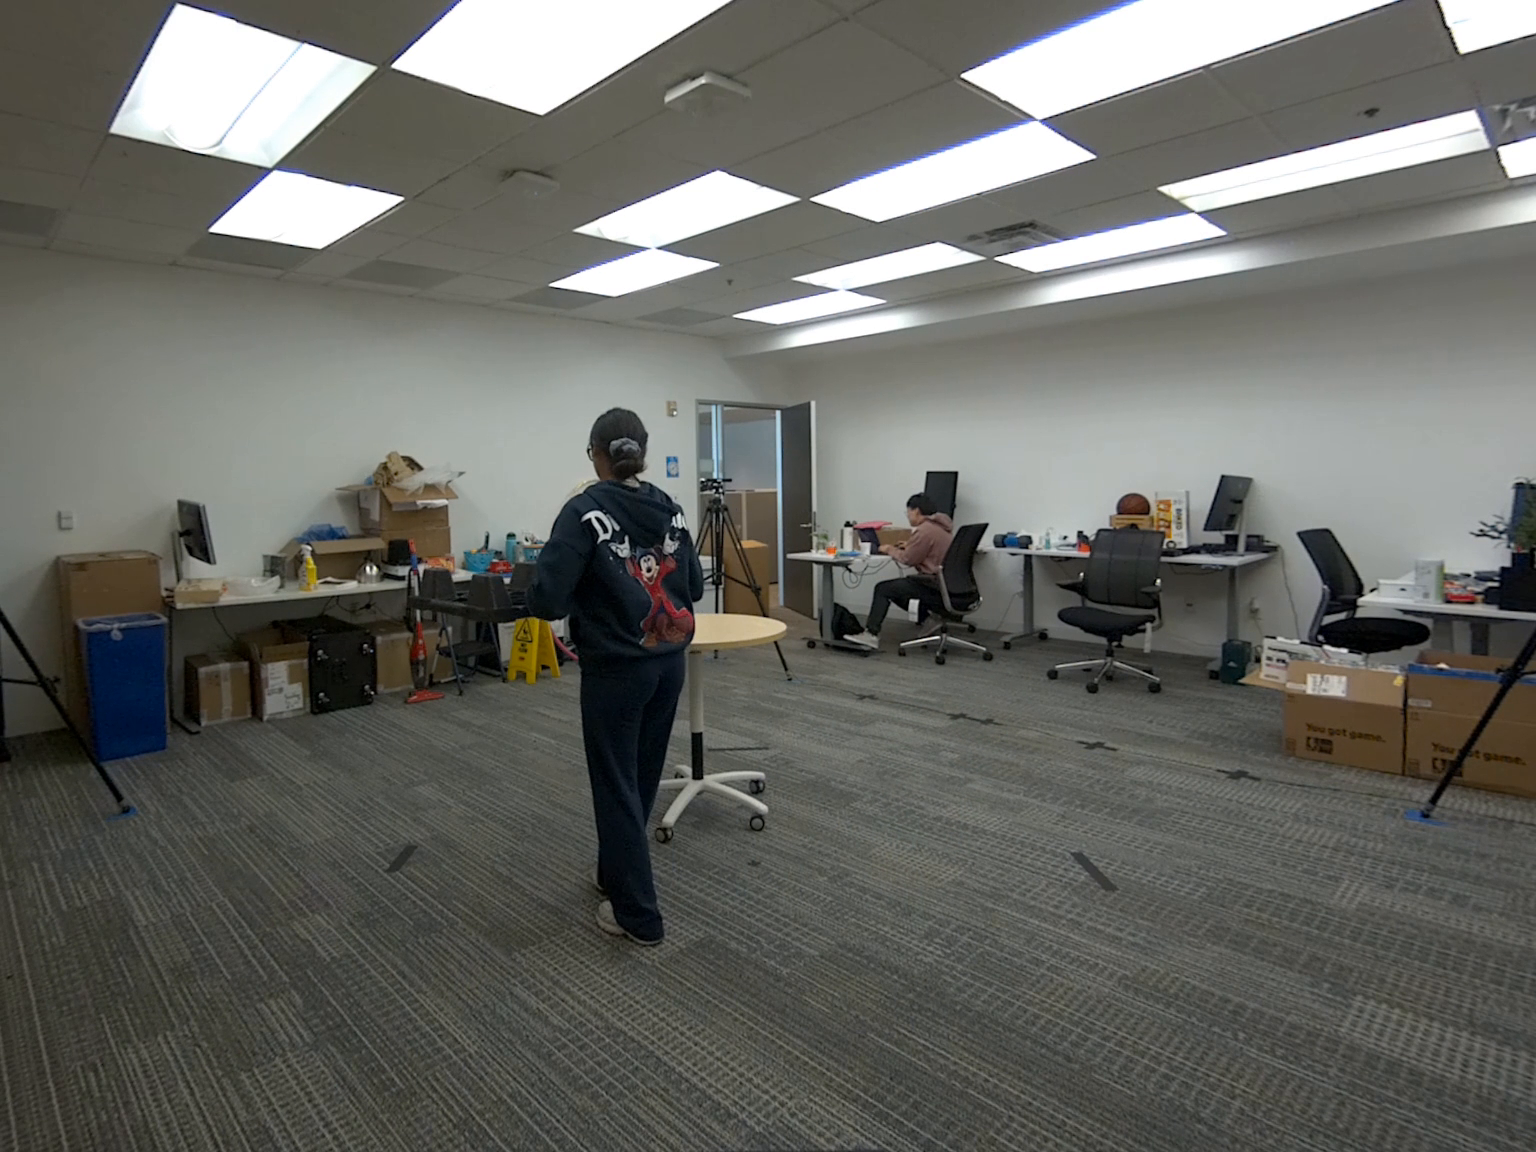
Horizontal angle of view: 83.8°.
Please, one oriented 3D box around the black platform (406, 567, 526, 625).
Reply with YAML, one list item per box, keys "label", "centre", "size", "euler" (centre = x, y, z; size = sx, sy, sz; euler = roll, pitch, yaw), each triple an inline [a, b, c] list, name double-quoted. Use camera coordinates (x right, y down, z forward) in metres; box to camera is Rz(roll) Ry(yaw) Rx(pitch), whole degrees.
- label: "black platform"
  centre: [-0.736, 0.023, 2.951]
  size: [0.784, 0.143, 0.623]
  euler: [-6, 7, -43]
